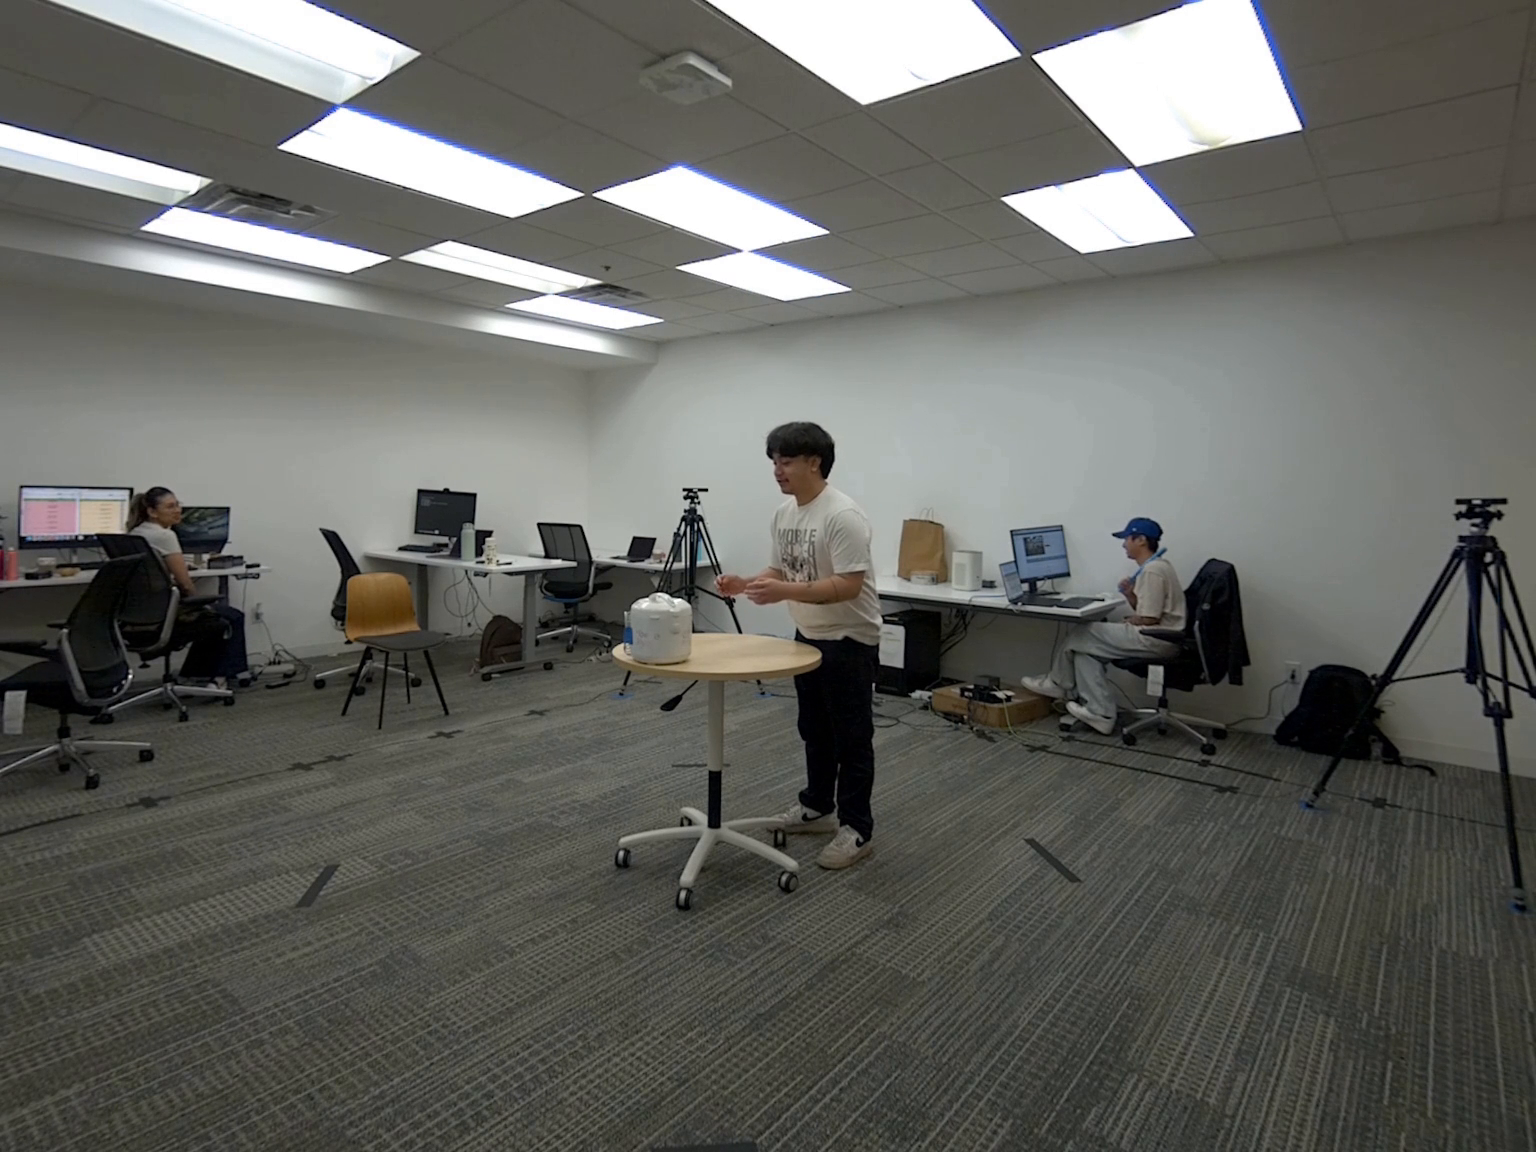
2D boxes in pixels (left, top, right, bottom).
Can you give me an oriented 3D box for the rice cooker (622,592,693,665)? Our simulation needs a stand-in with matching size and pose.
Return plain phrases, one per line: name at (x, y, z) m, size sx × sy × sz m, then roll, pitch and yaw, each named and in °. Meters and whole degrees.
rice cooker at (-0.380, 0.172, 2.931) m, size 0.212 × 0.232 × 0.227 m, roll -4°, pitch 6°, yaw -32°
